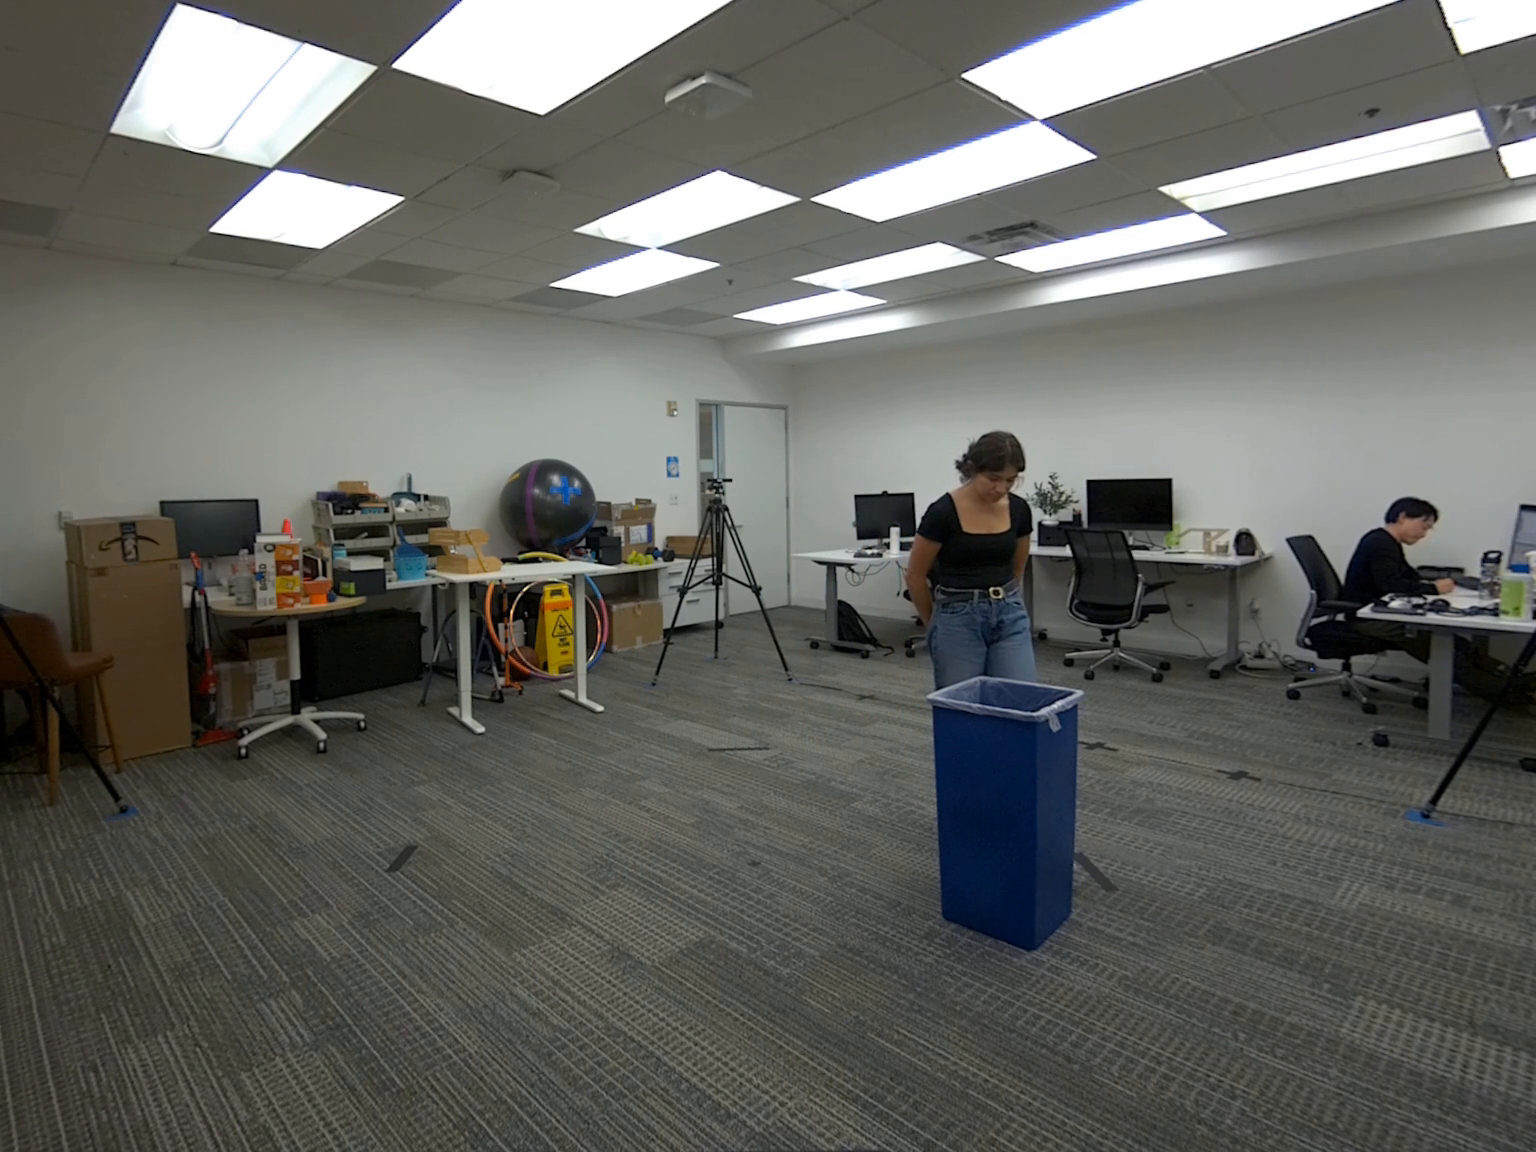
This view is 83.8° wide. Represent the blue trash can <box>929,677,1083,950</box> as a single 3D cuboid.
[{"bbox_3d":[0.751,0.723,2.675,0.389,0.711,0.364,2,4,41],"label":"blue trash can"}]
